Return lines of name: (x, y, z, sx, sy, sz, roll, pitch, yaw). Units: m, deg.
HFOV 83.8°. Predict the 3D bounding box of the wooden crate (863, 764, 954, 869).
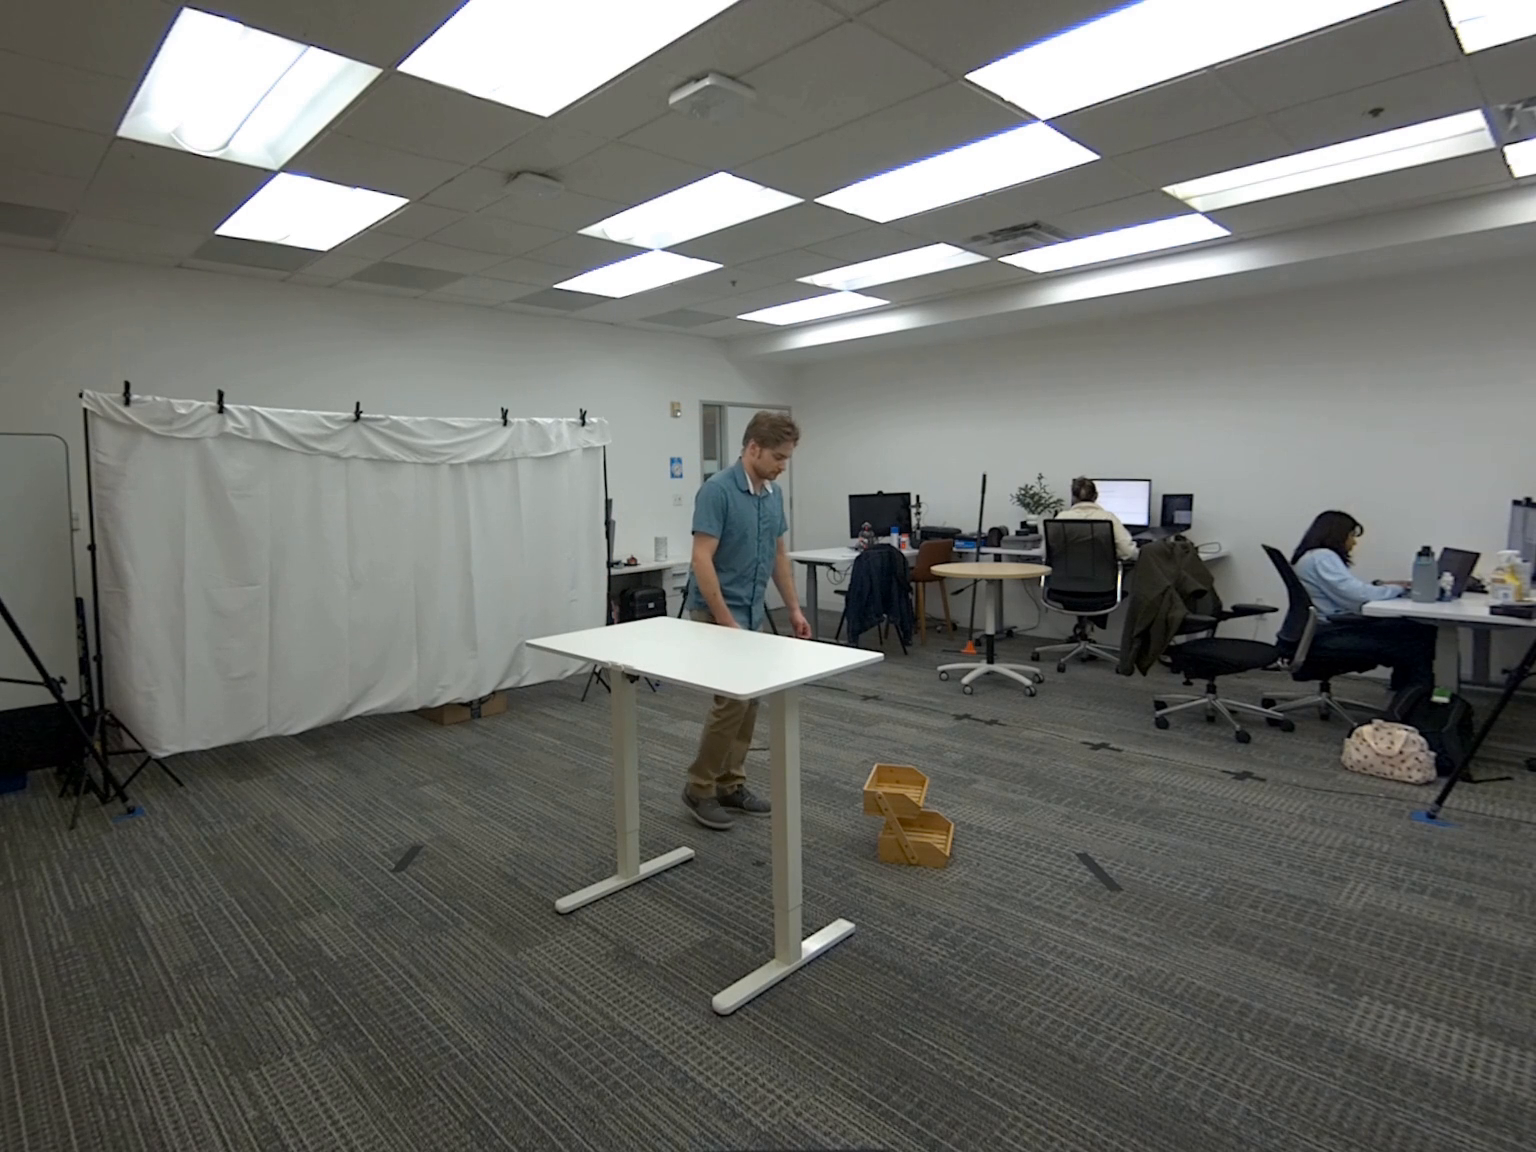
wooden crate: (0.546, 0.894, 3.220, 0.307, 0.272, 0.320, 0, 5, 17)
